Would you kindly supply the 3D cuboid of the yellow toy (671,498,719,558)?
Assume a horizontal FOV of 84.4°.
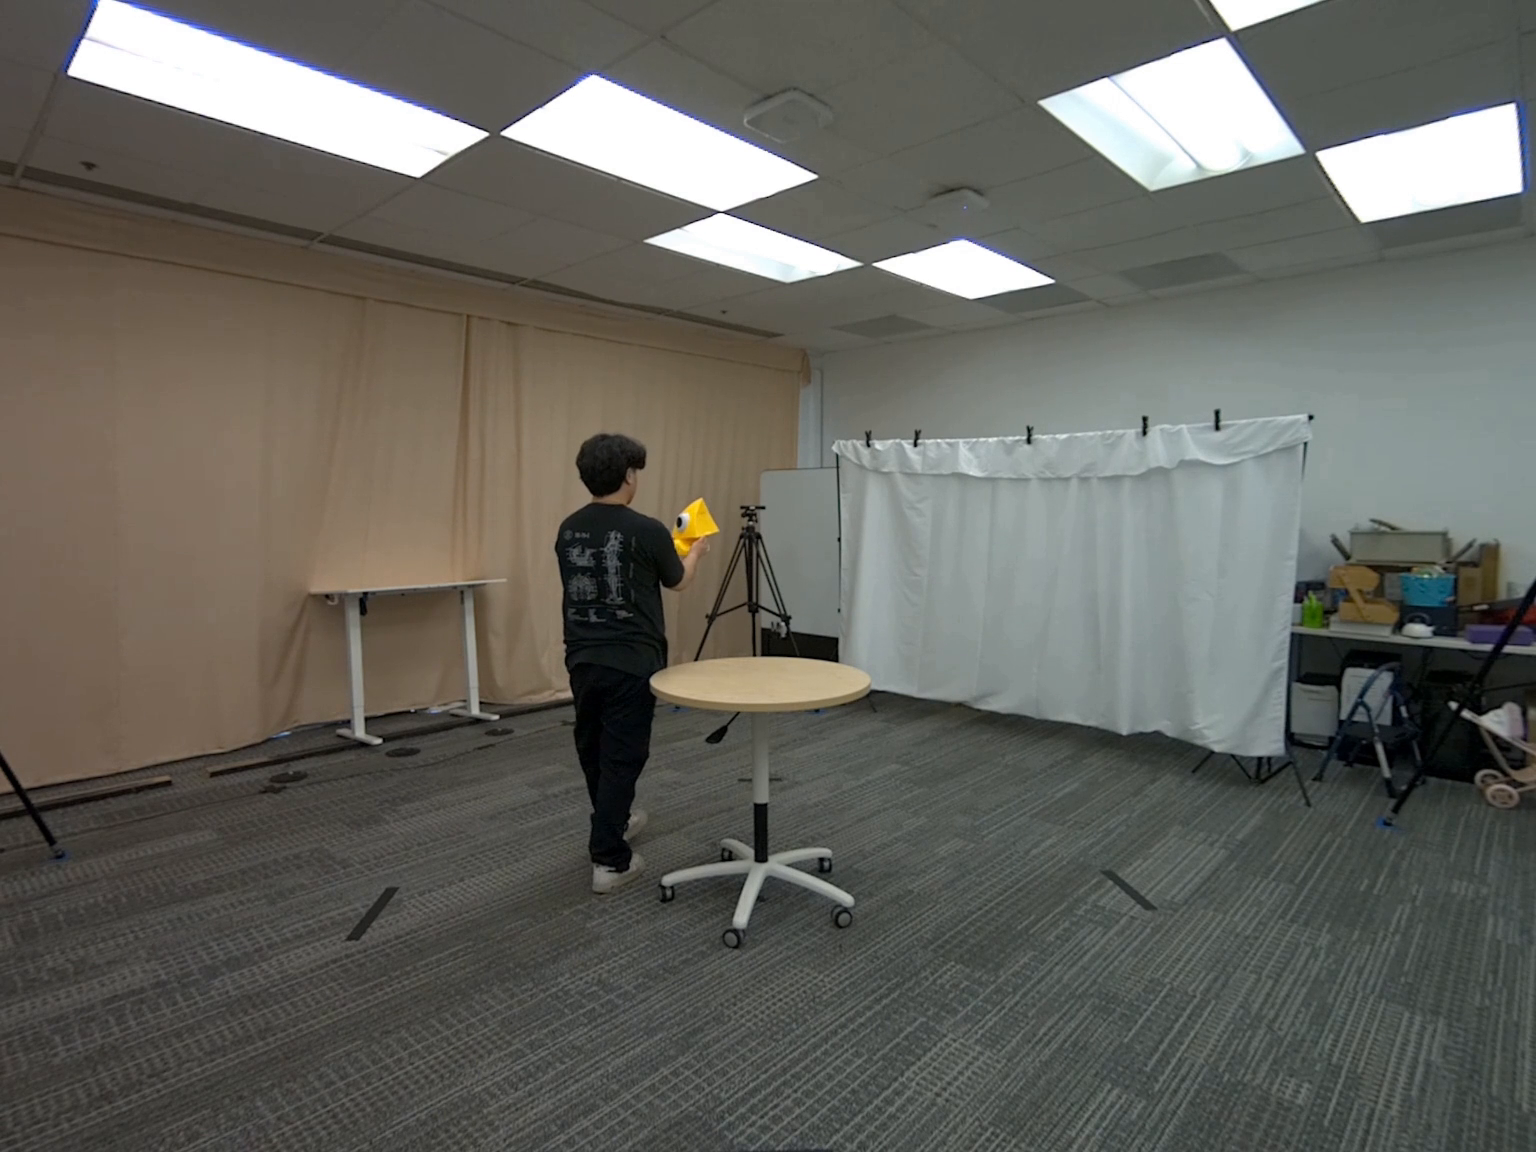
[{"bbox_3d":[-0.337,-0.224,3.596,0.198,0.229,0.201,6,11,24],"label":"yellow toy"}]
